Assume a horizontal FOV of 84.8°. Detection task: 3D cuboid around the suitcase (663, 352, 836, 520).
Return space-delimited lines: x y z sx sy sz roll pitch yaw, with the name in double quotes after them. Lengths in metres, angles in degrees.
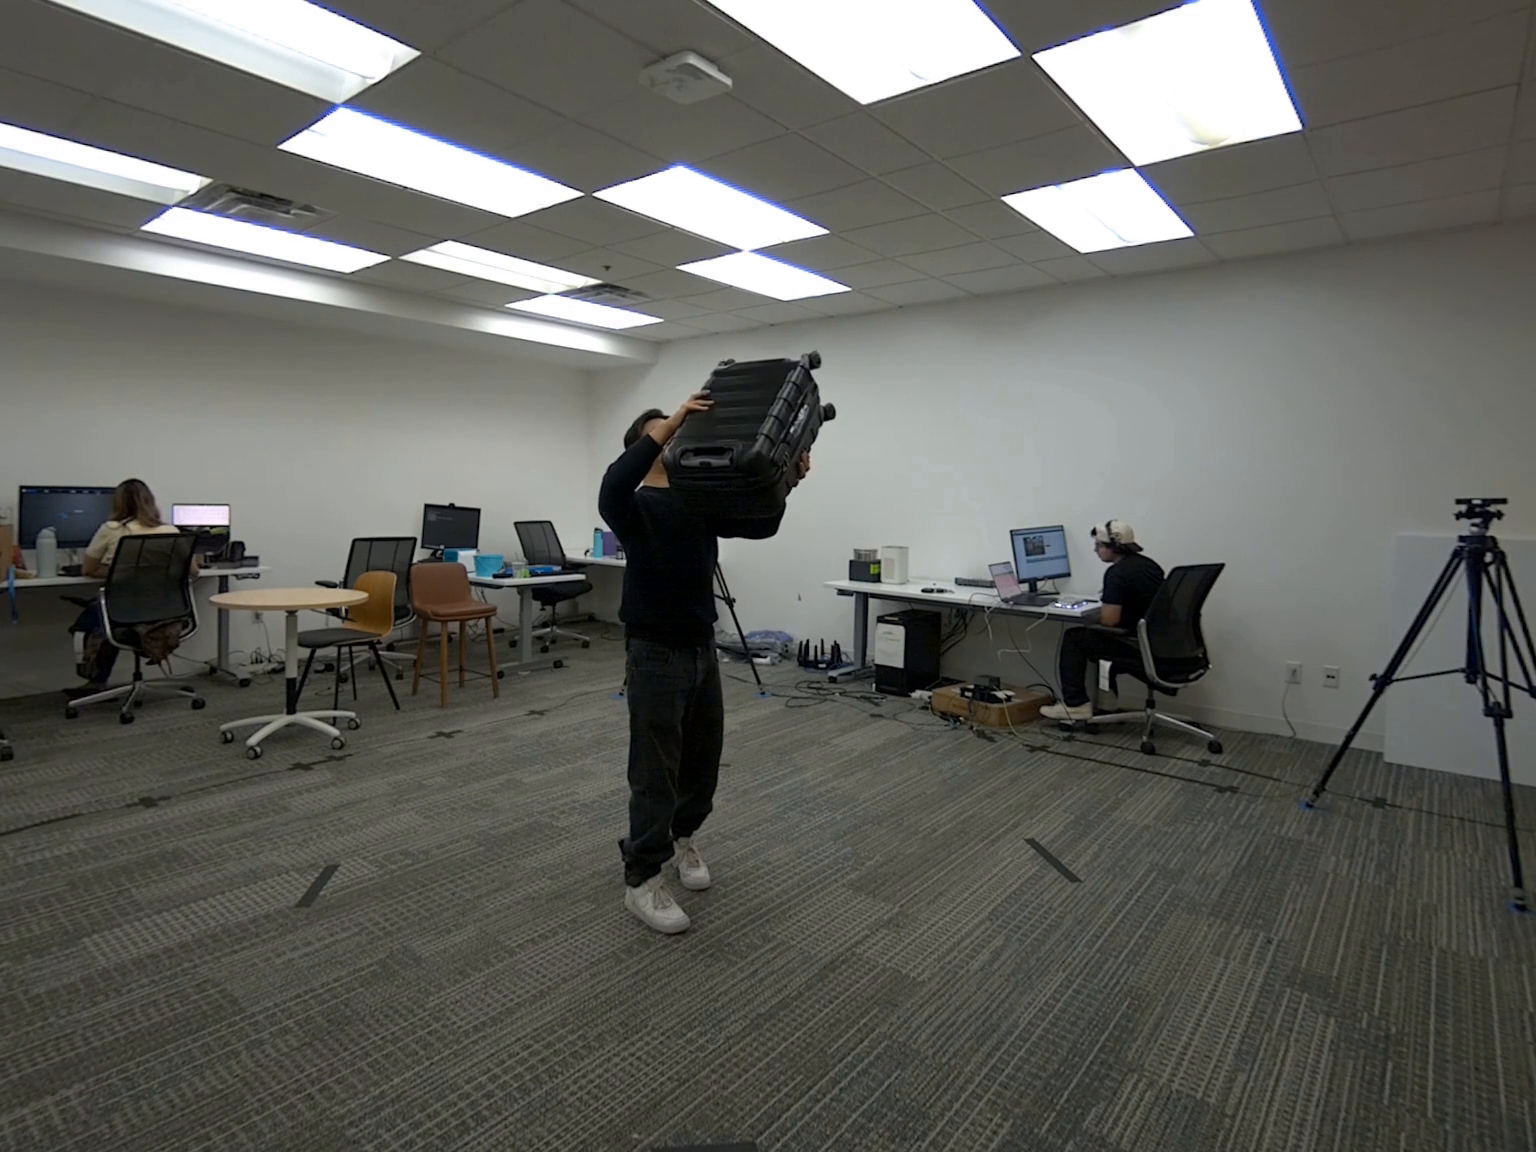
-0.067 -0.424 2.565 0.386 0.239 0.555 2 46 28 "suitcase"
